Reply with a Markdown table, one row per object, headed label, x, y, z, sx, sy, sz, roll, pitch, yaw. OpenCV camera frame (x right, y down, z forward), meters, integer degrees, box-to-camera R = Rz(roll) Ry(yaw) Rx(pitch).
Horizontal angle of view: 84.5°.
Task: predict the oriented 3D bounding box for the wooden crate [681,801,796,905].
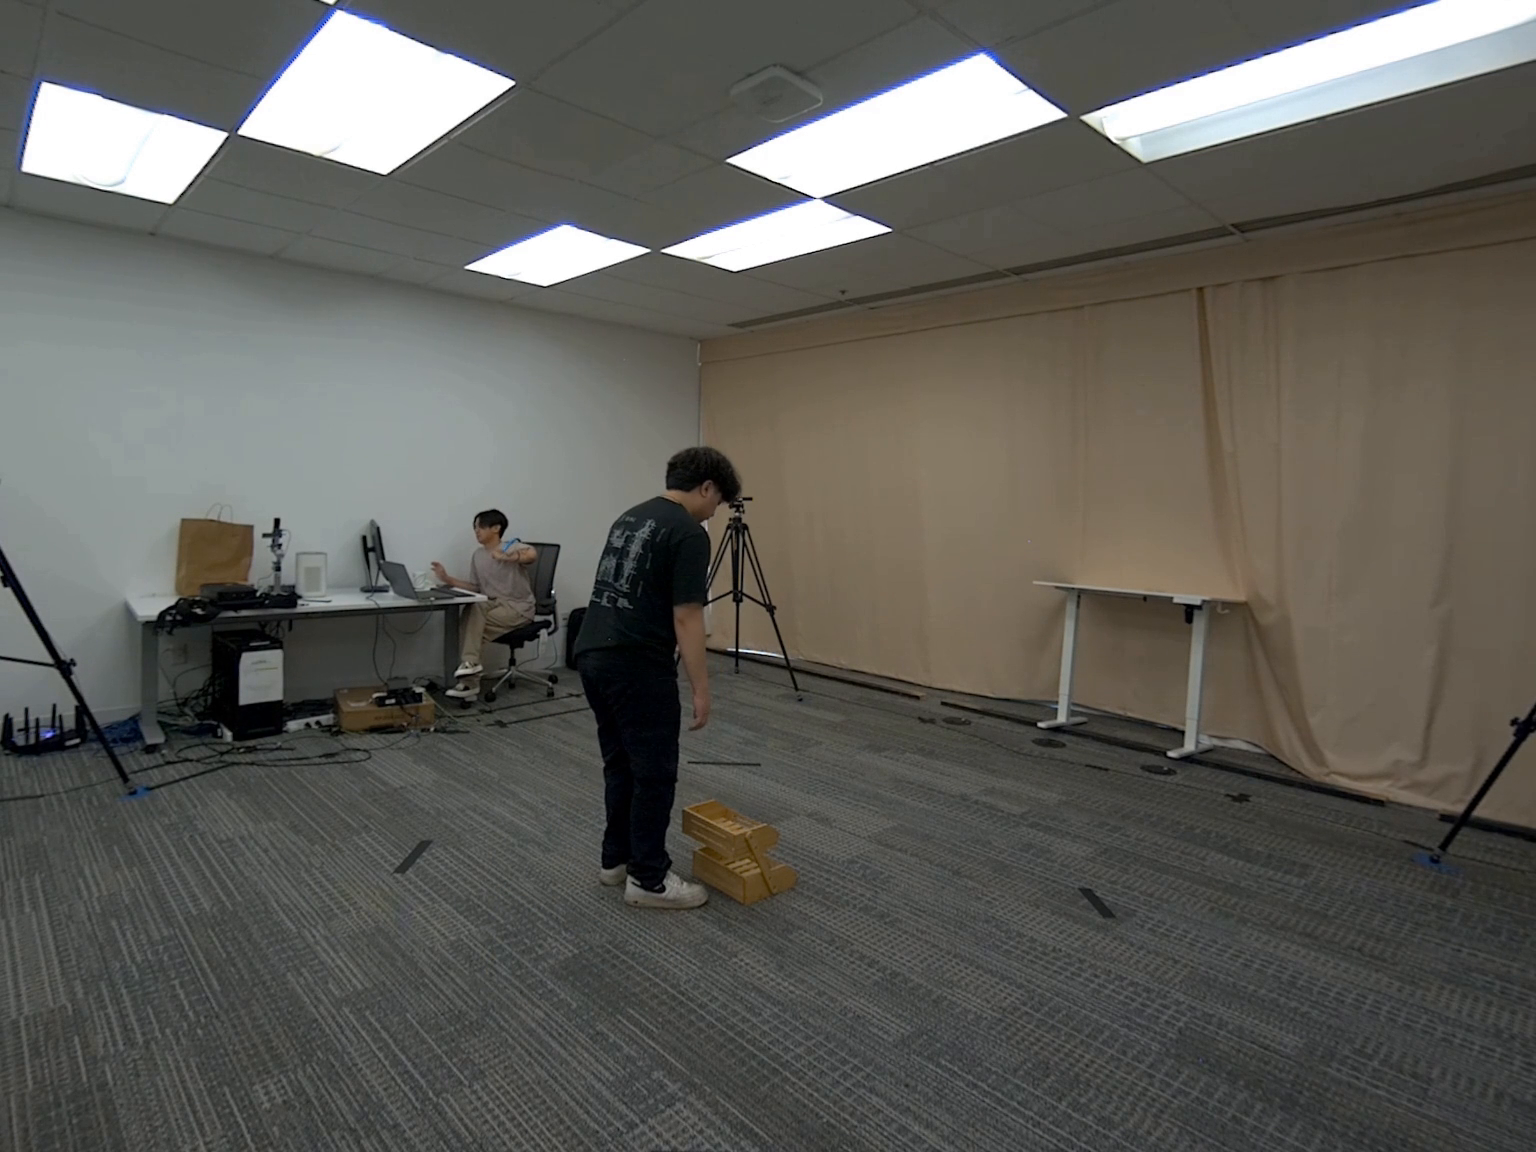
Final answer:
| label | x | y | z | sx | sy | sz | roll | pitch | yaw |
| --- | --- | --- | --- | --- | --- | --- | --- | --- | --- |
| wooden crate | -0.107 | 0.981 | 3.054 | 0.295 | 0.272 | 0.333 | -3 | 7 | -41 |
